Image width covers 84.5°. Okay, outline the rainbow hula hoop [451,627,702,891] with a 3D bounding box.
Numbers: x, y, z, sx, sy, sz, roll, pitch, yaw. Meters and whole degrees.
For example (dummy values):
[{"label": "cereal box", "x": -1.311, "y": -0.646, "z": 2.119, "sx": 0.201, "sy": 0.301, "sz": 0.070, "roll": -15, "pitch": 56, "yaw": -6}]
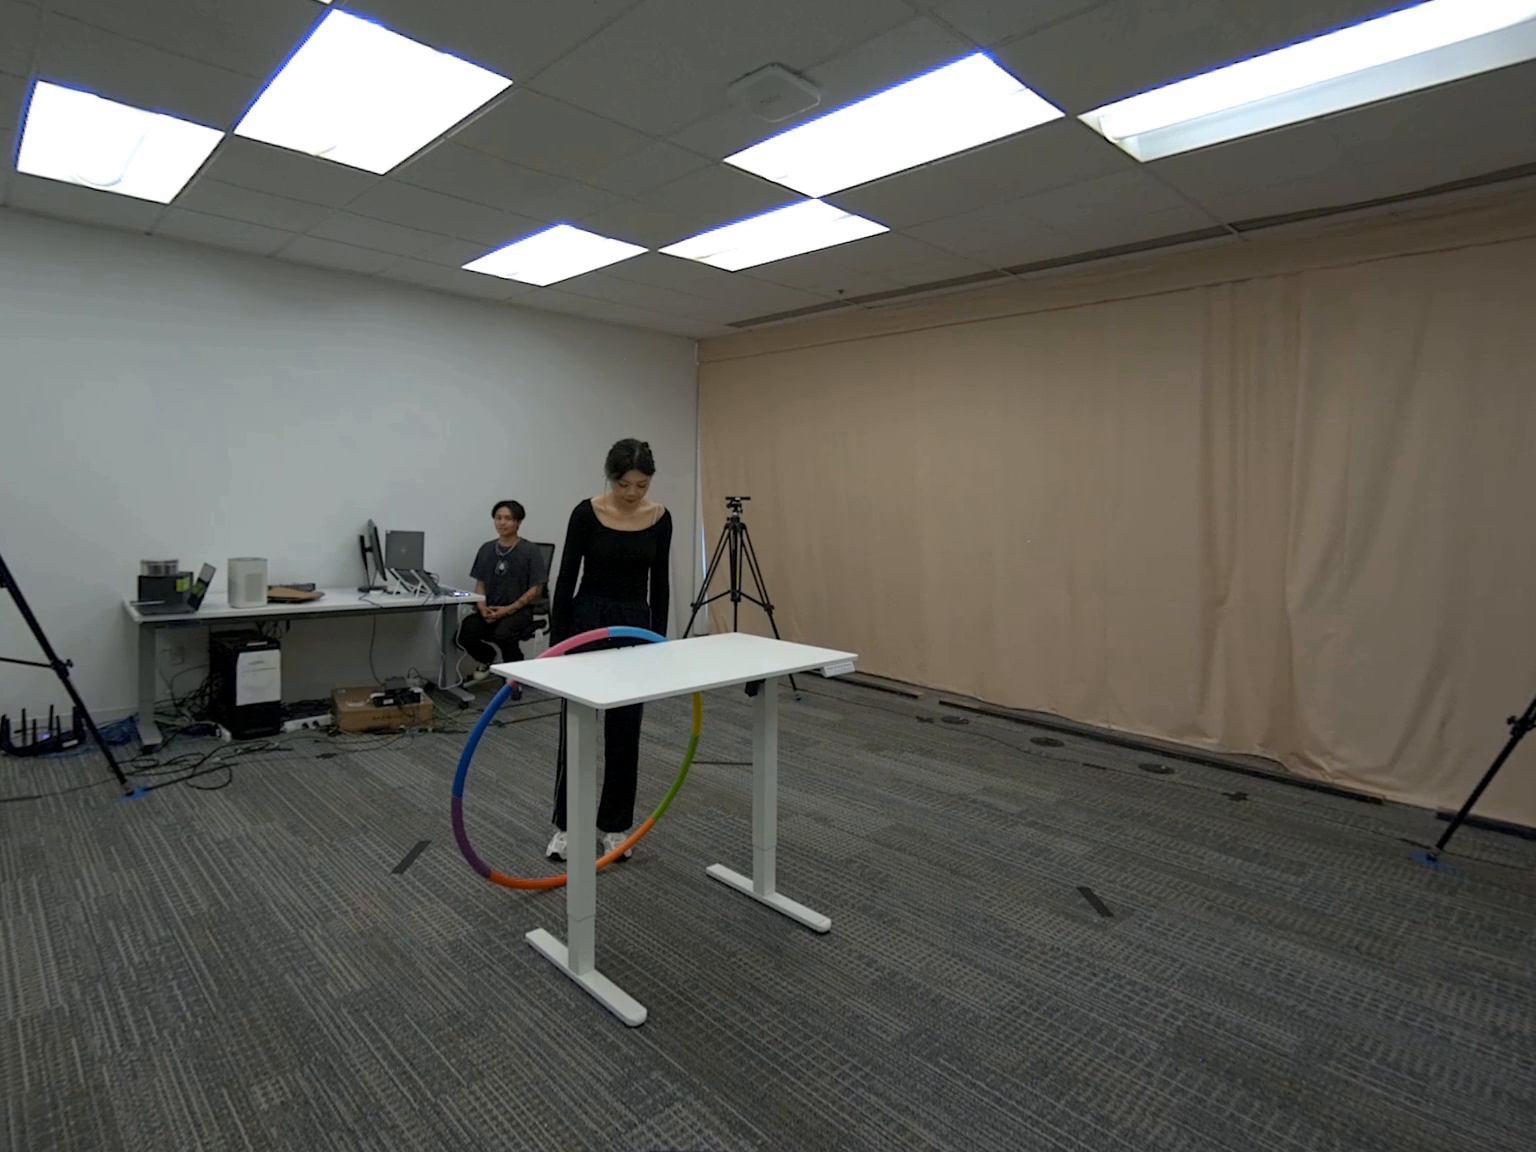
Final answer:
[{"label": "rainbow hula hoop", "x": -0.624, "y": 0.642, "z": 2.911, "sx": 0.956, "sy": 0.971, "sz": 0.036, "roll": -3, "pitch": 21, "yaw": -44}]
